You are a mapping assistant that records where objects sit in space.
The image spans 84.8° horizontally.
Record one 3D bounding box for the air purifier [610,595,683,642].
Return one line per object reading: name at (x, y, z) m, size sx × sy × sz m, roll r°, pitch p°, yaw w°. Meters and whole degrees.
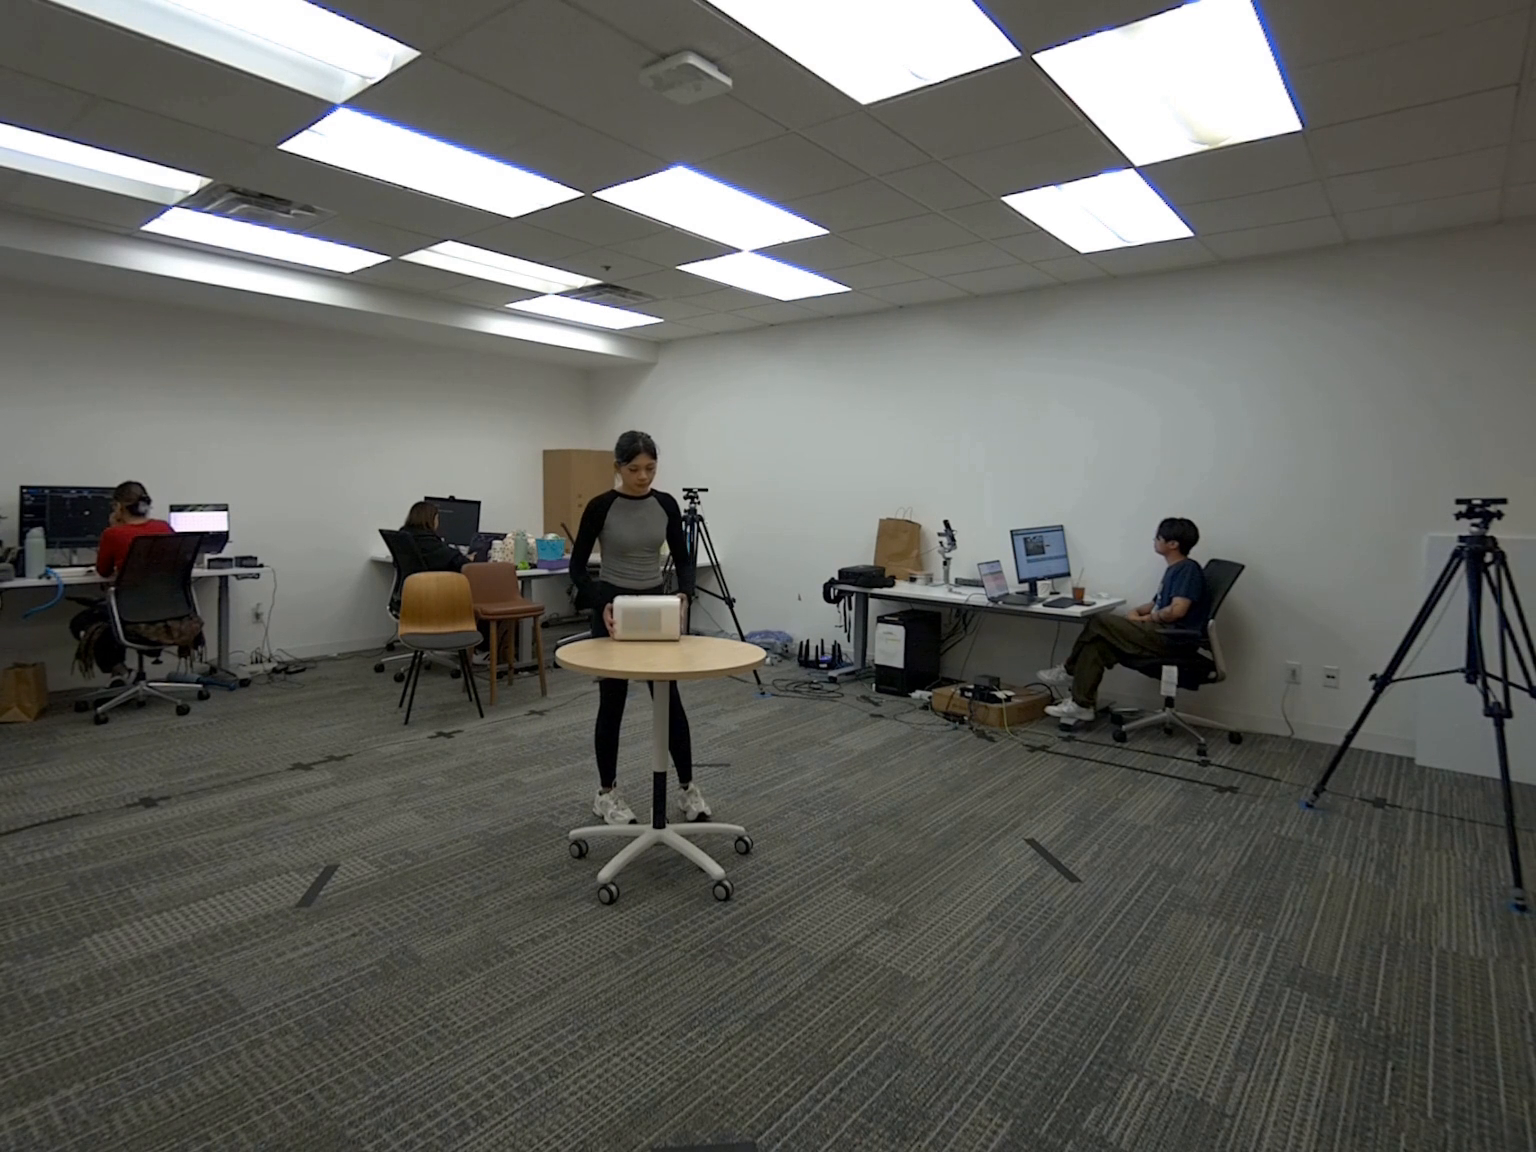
air purifier at (-0.487, 0.162, 3.383) m, size 0.264 × 0.171 × 0.173 m, roll 1°, pitch 4°, yaw -7°
